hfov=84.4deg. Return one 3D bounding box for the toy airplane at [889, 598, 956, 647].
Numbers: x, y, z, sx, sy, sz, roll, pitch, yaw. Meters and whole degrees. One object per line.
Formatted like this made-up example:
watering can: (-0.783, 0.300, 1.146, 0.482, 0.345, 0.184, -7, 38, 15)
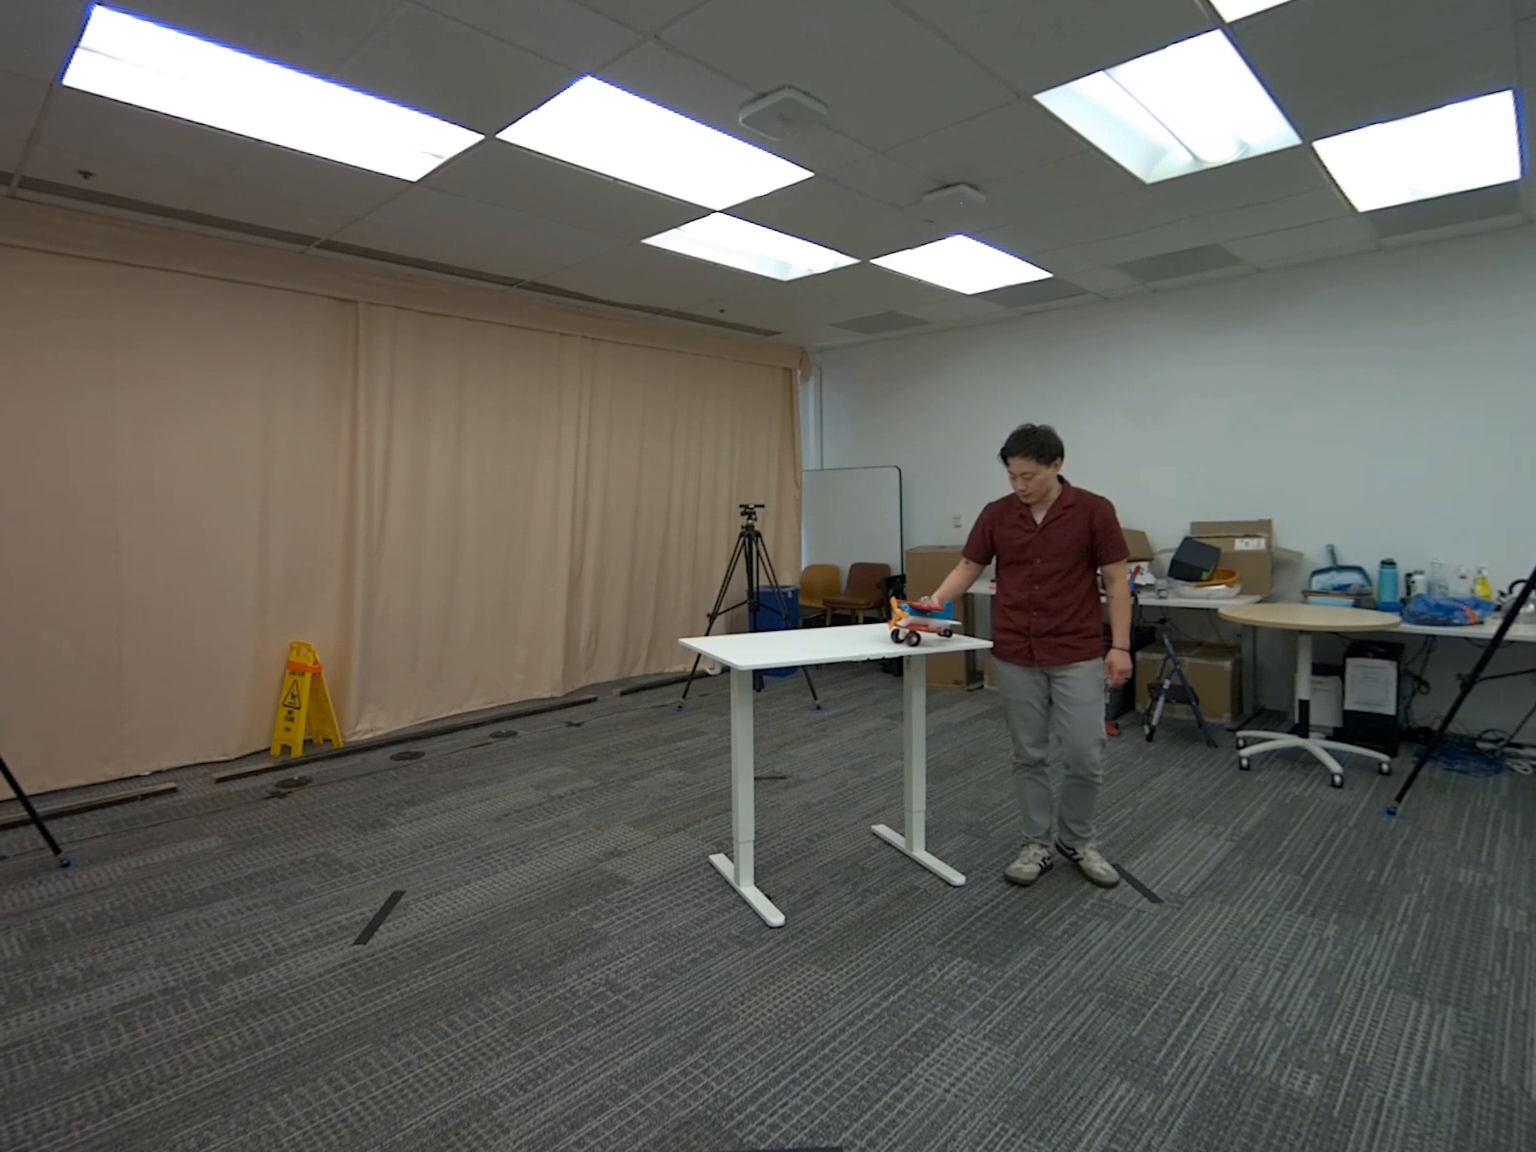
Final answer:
toy airplane: (0.566, 0.159, 3.068, 0.259, 0.156, 0.252, -1, 8, 40)
